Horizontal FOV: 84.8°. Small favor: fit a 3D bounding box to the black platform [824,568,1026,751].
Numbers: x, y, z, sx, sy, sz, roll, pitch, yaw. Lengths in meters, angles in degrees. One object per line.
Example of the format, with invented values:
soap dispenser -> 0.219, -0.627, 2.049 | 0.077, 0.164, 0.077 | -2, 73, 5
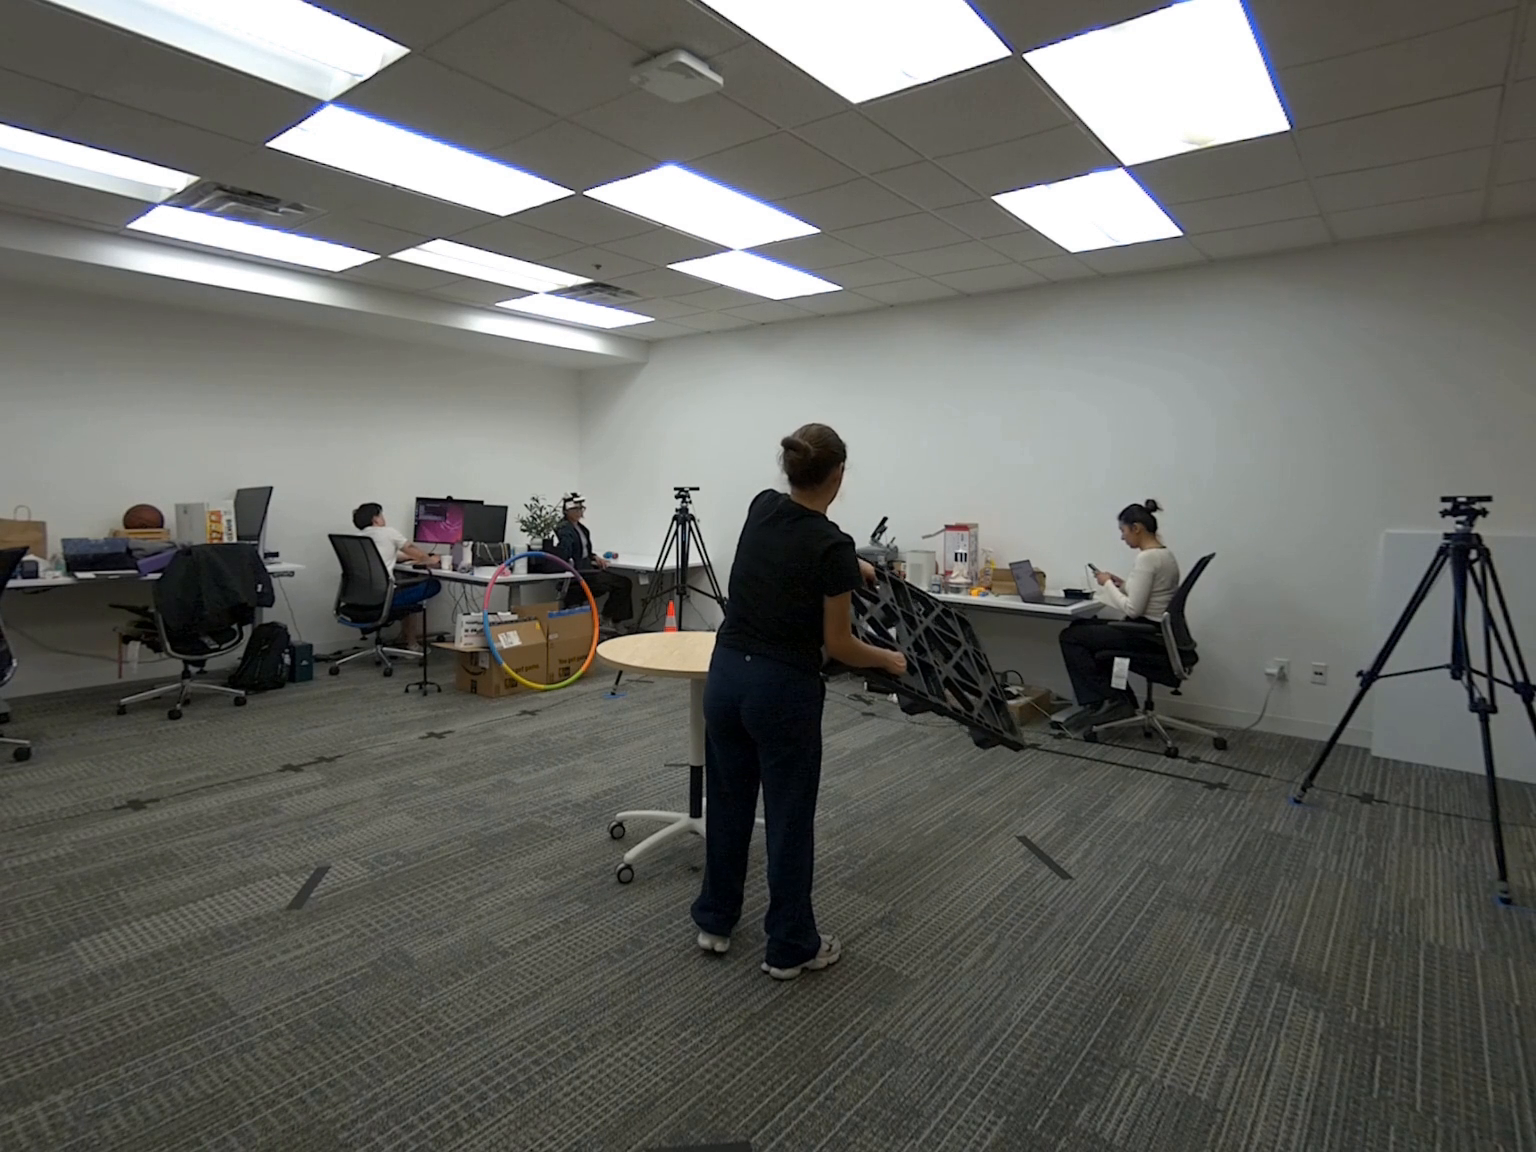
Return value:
black platform -> 0.460, 0.222, 2.821 | 0.780, 0.143, 0.625 | 27, 31, -26
